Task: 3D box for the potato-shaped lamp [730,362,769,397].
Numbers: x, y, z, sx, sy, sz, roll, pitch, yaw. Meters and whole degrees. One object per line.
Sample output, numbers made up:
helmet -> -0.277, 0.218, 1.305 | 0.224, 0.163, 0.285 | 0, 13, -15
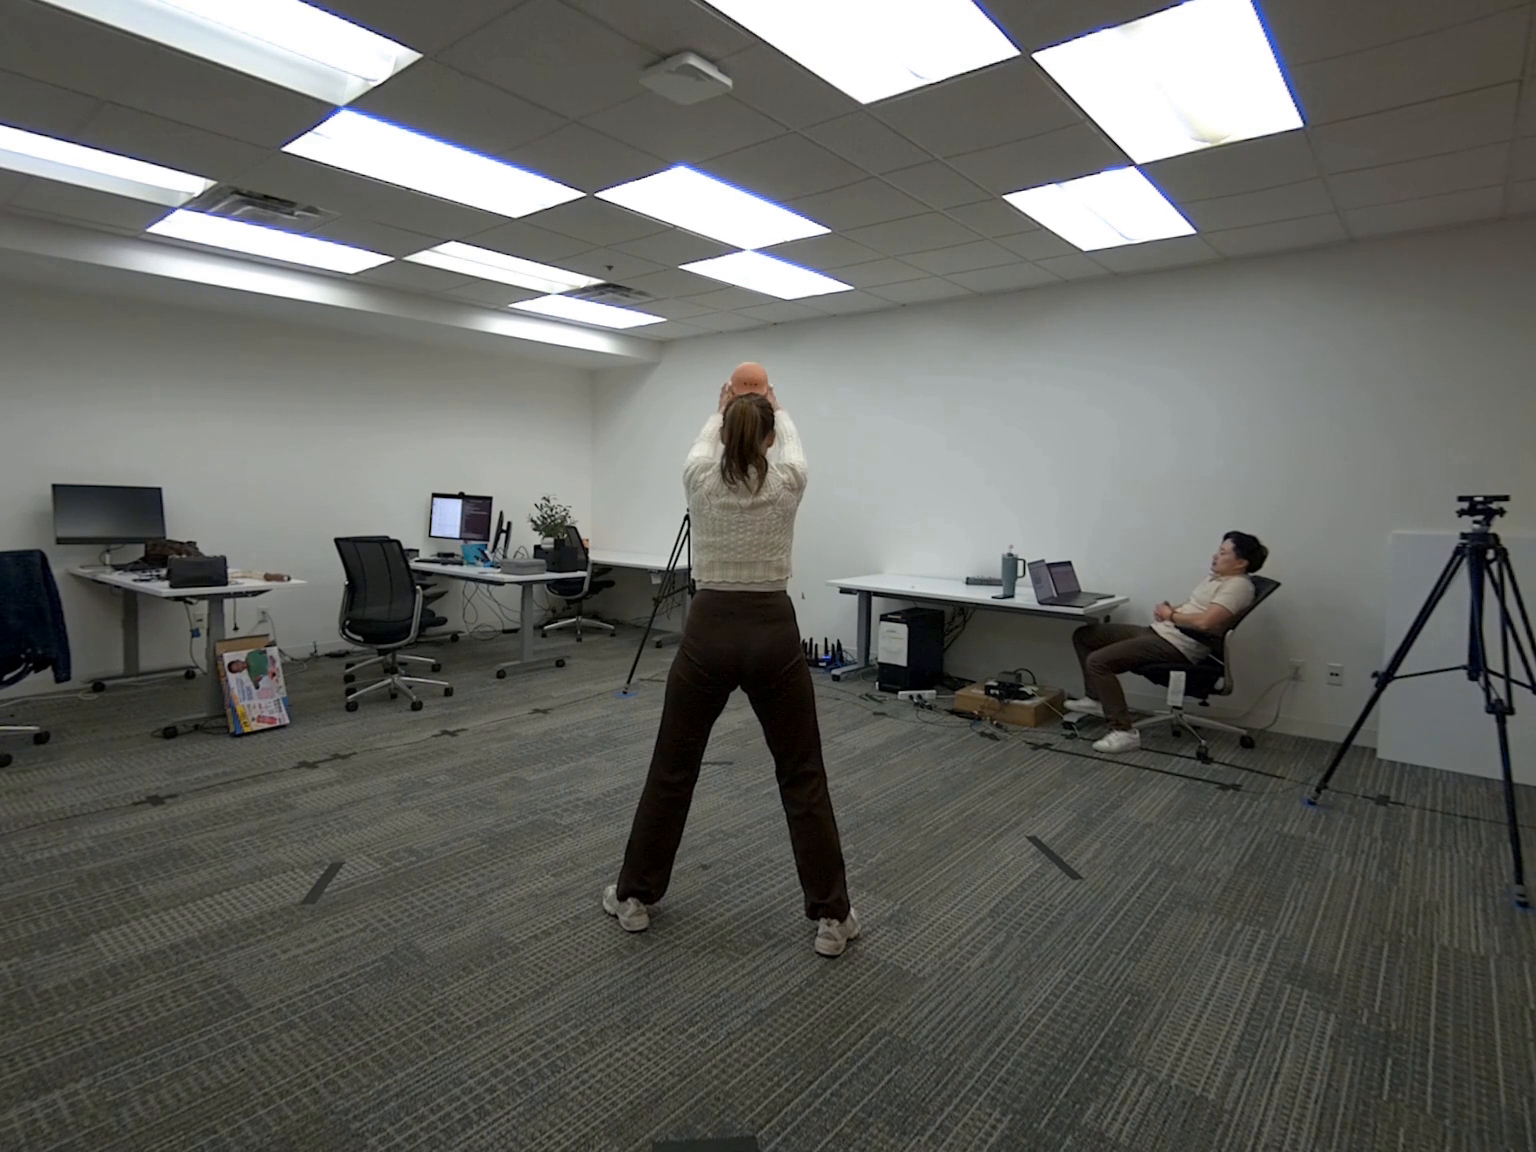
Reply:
potato-shaped lamp -> -0.079, -0.697, 3.198 | 0.165, 0.193, 0.175 | 6, 33, 2
